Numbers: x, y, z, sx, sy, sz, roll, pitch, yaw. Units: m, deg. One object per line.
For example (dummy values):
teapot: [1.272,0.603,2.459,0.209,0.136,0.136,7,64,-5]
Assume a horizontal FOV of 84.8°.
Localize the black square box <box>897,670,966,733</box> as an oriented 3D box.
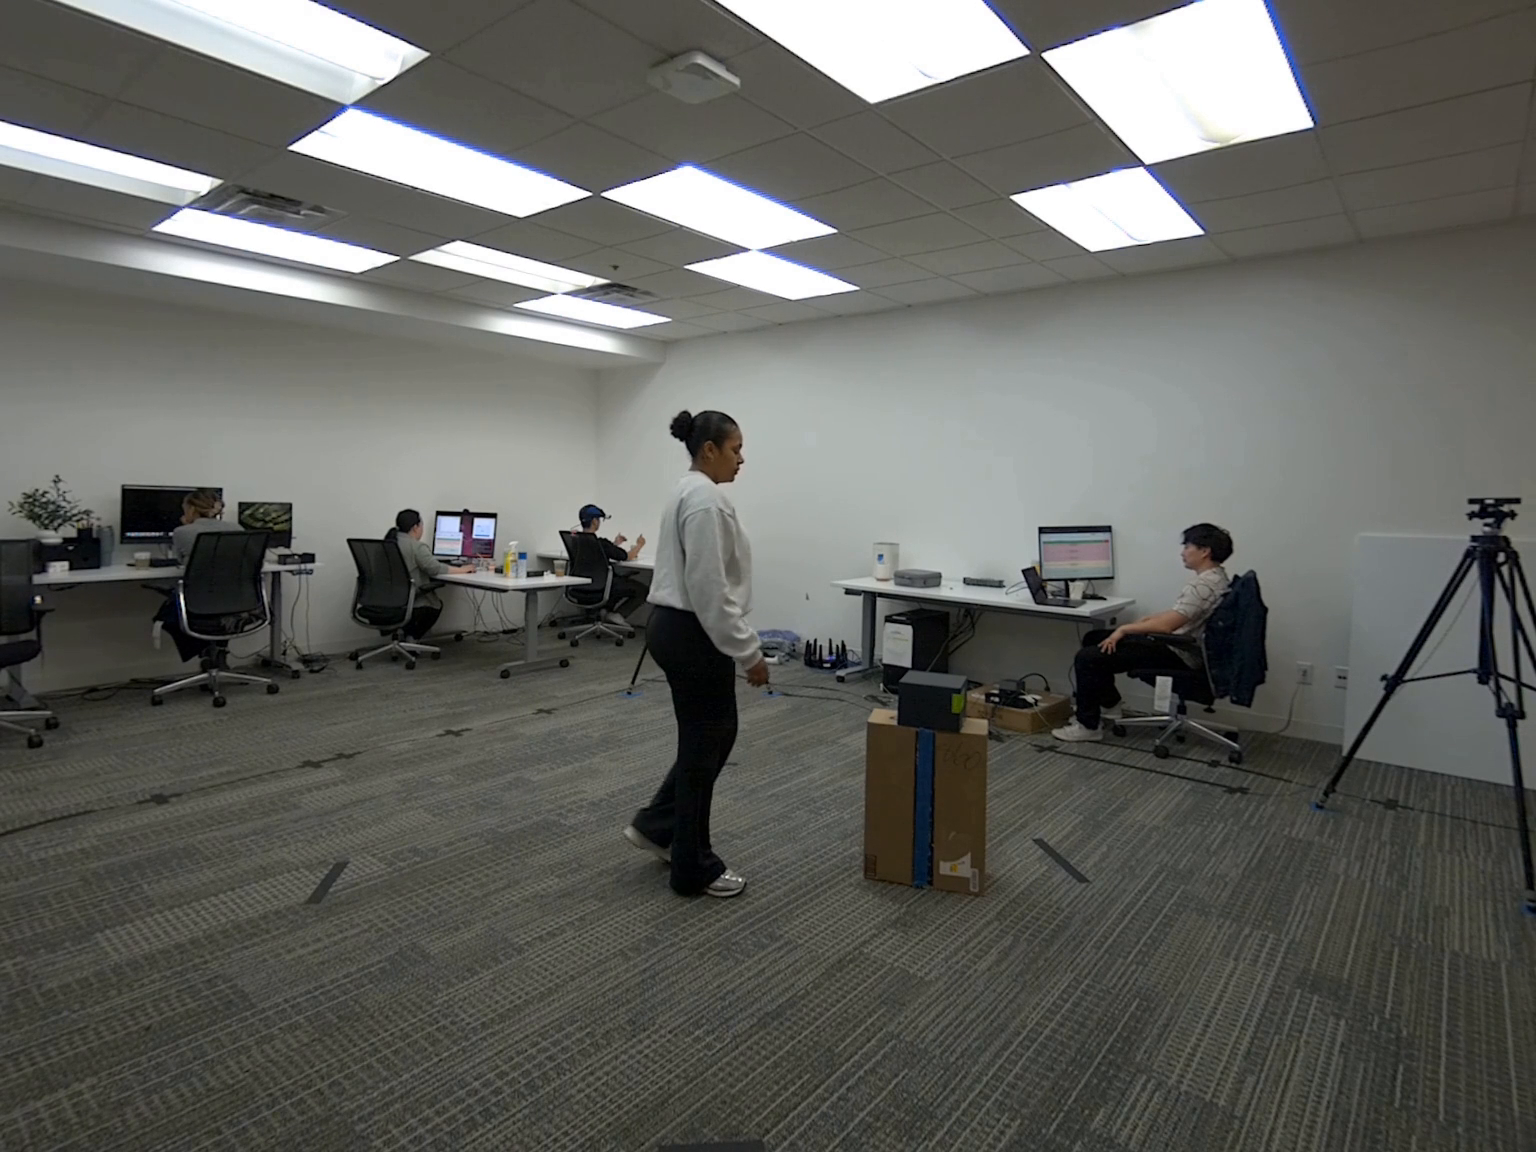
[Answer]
black square box: [0.587,0.443,3.062,0.222,0.155,0.224,4,5,19]
